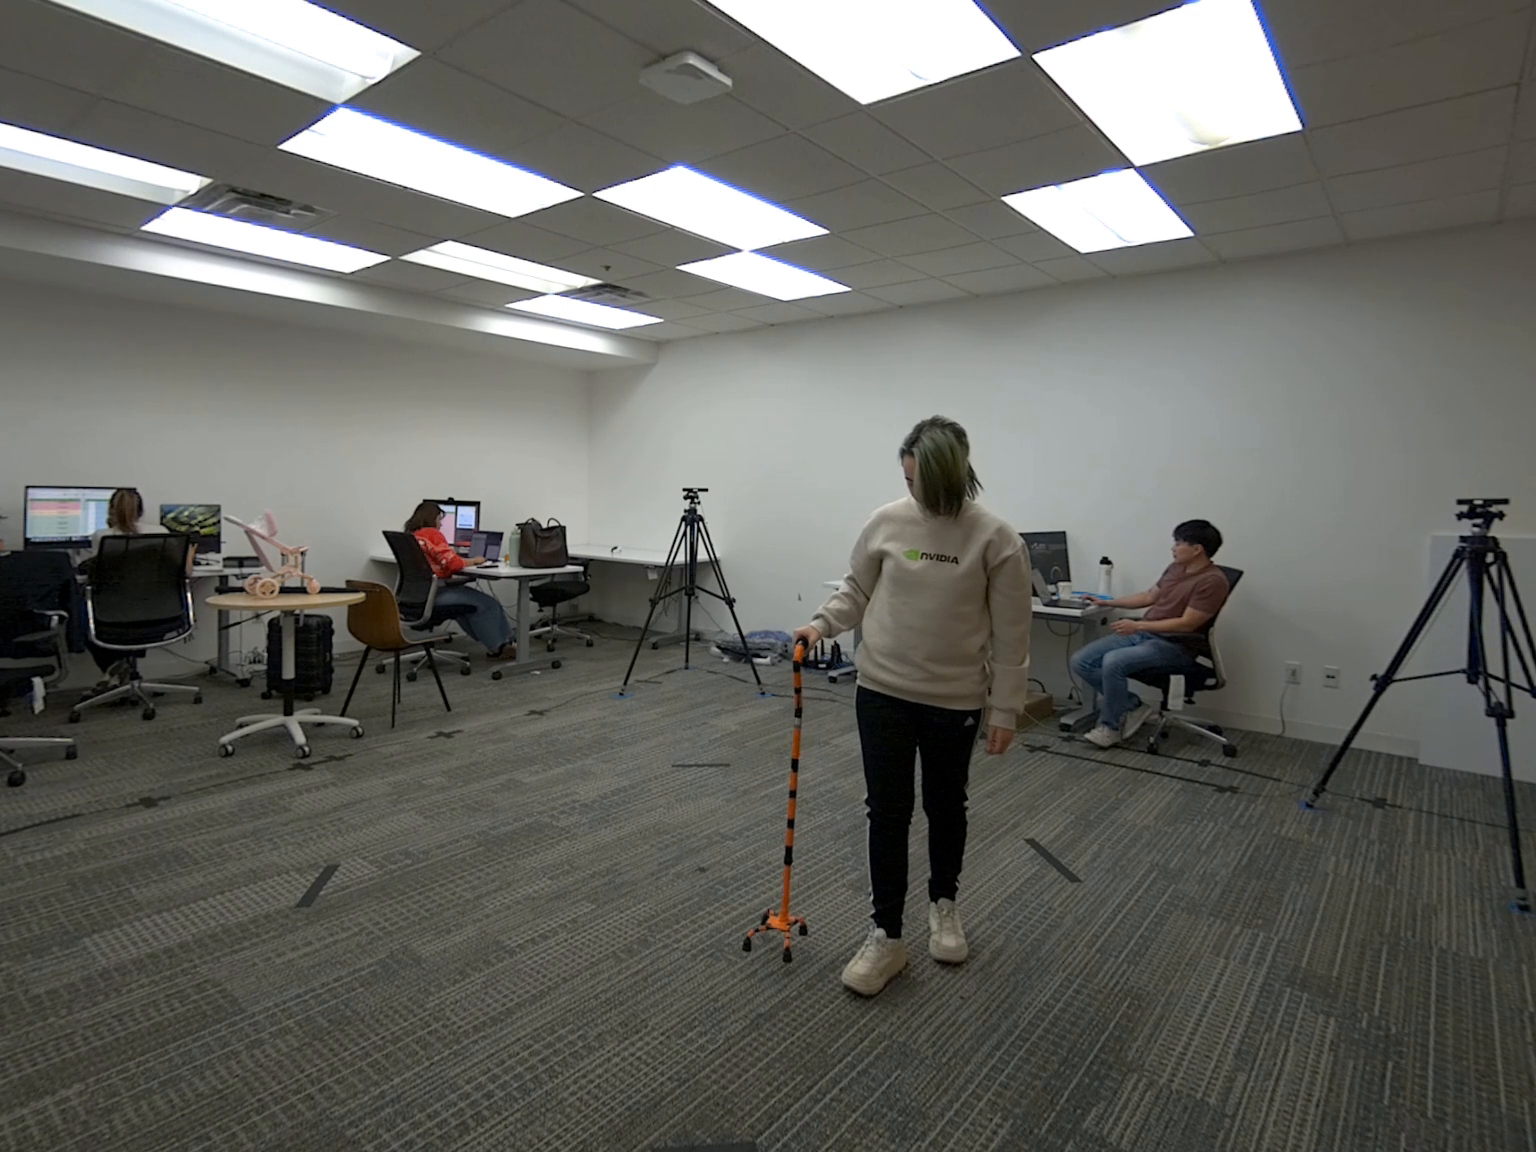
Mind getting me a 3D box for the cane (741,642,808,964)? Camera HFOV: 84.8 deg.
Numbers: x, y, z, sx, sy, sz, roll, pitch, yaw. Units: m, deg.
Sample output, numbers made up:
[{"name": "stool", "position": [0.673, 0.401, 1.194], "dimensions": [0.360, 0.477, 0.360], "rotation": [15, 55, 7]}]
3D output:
[{"name": "cane", "position": [0.045, 0.639, 2.534], "dimensions": [0.155, 0.907, 0.202], "rotation": [4, 1, 18]}]
